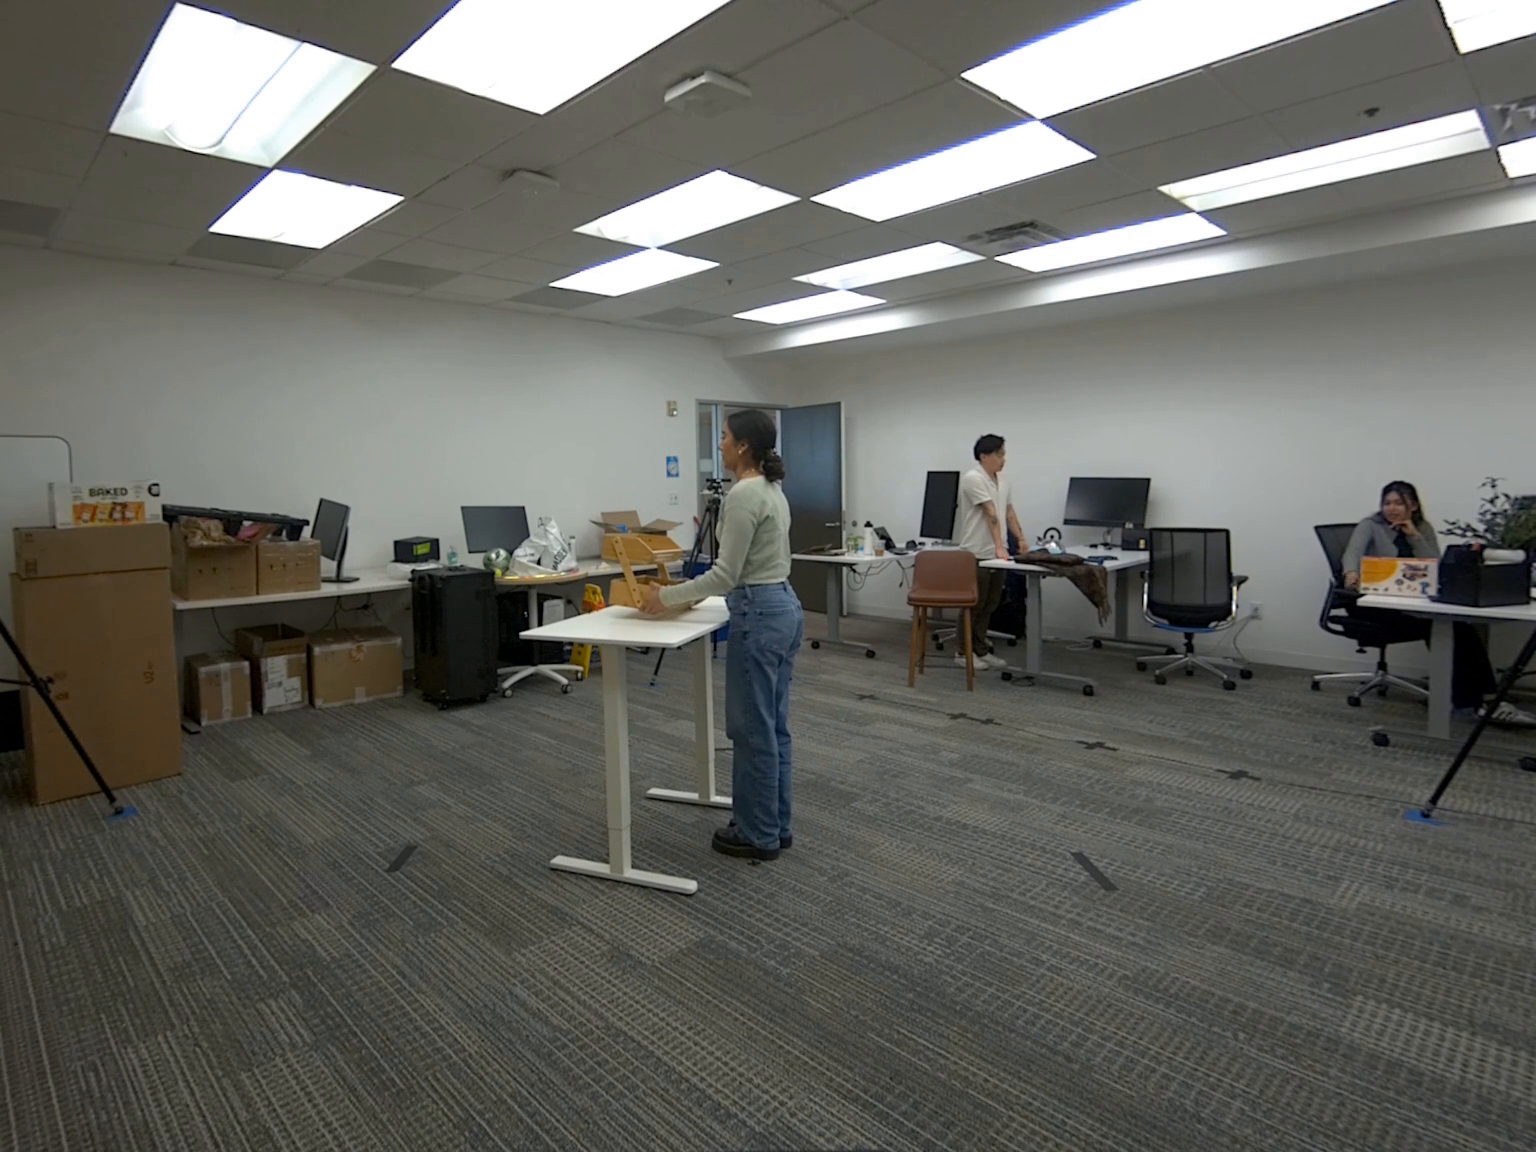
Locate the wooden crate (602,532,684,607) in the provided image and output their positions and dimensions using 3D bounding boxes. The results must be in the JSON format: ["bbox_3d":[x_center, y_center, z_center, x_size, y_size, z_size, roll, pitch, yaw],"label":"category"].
[{"bbox_3d":[-0.441,-0.023,3.316,0.308,0.272,0.319,8,4,17],"label":"wooden crate"}]
